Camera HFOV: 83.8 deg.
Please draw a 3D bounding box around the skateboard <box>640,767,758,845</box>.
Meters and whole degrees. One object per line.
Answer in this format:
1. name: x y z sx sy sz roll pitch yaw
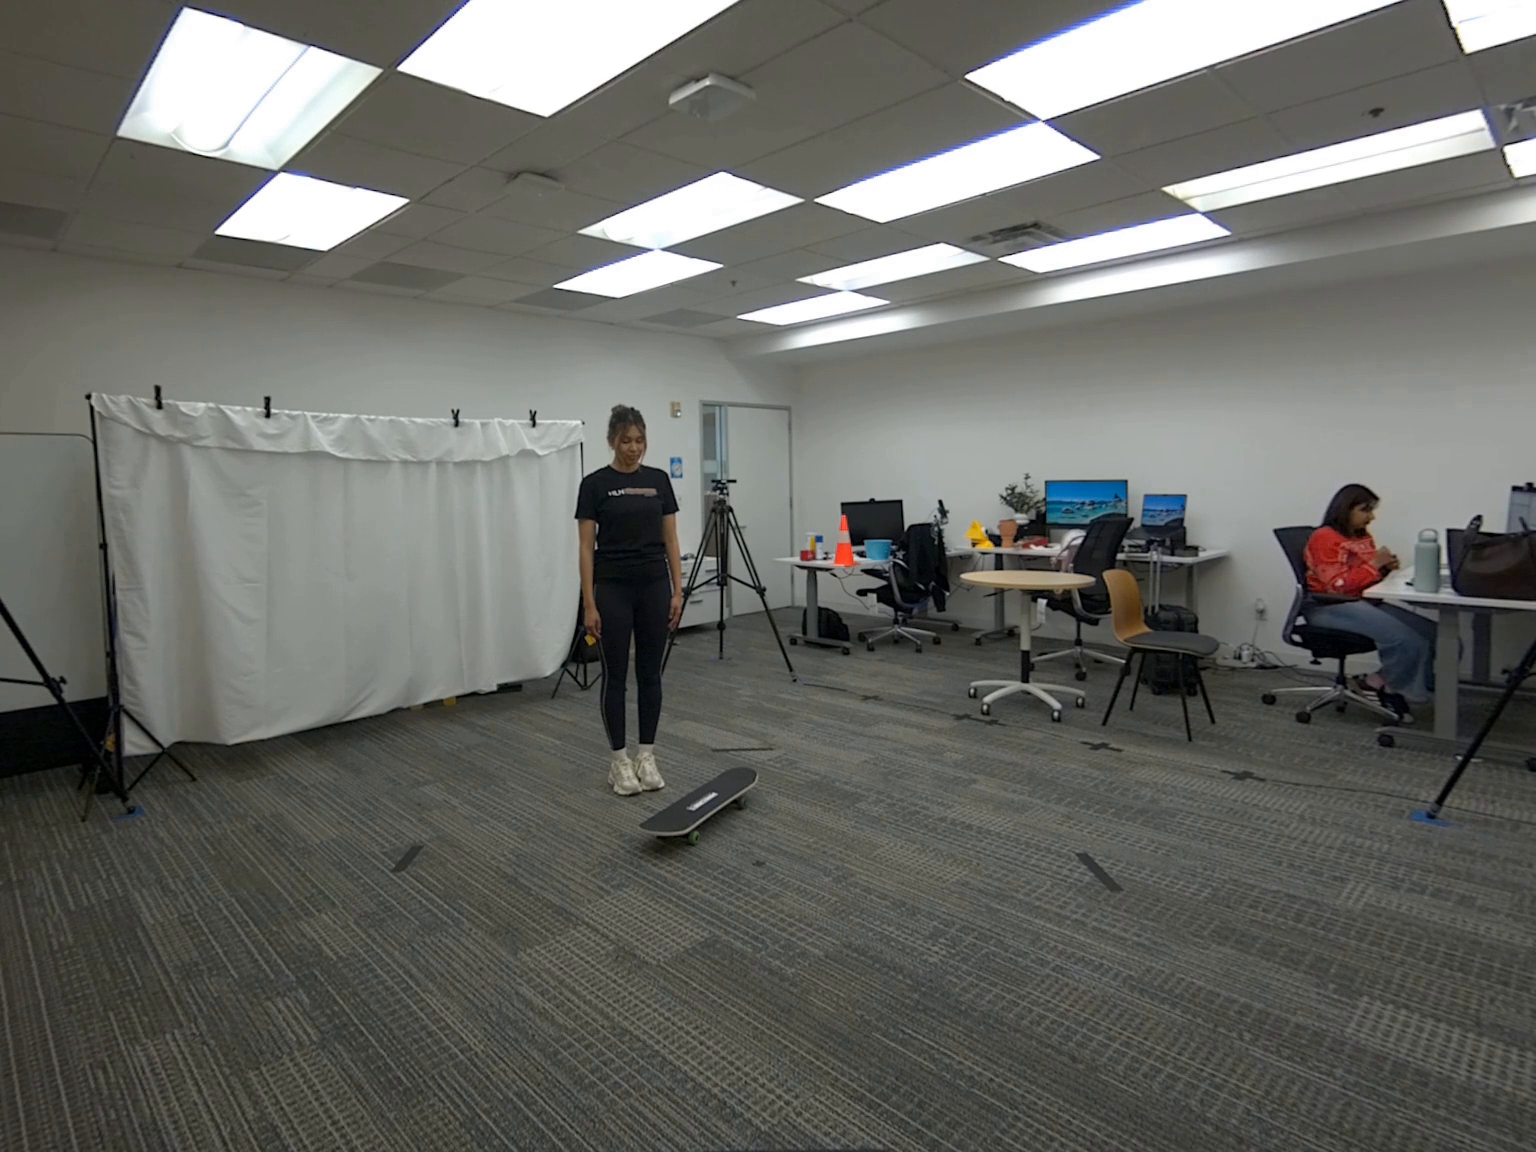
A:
1. skateboard: -0.267 0.950 3.497 0.198 0.110 0.770 0 6 26
